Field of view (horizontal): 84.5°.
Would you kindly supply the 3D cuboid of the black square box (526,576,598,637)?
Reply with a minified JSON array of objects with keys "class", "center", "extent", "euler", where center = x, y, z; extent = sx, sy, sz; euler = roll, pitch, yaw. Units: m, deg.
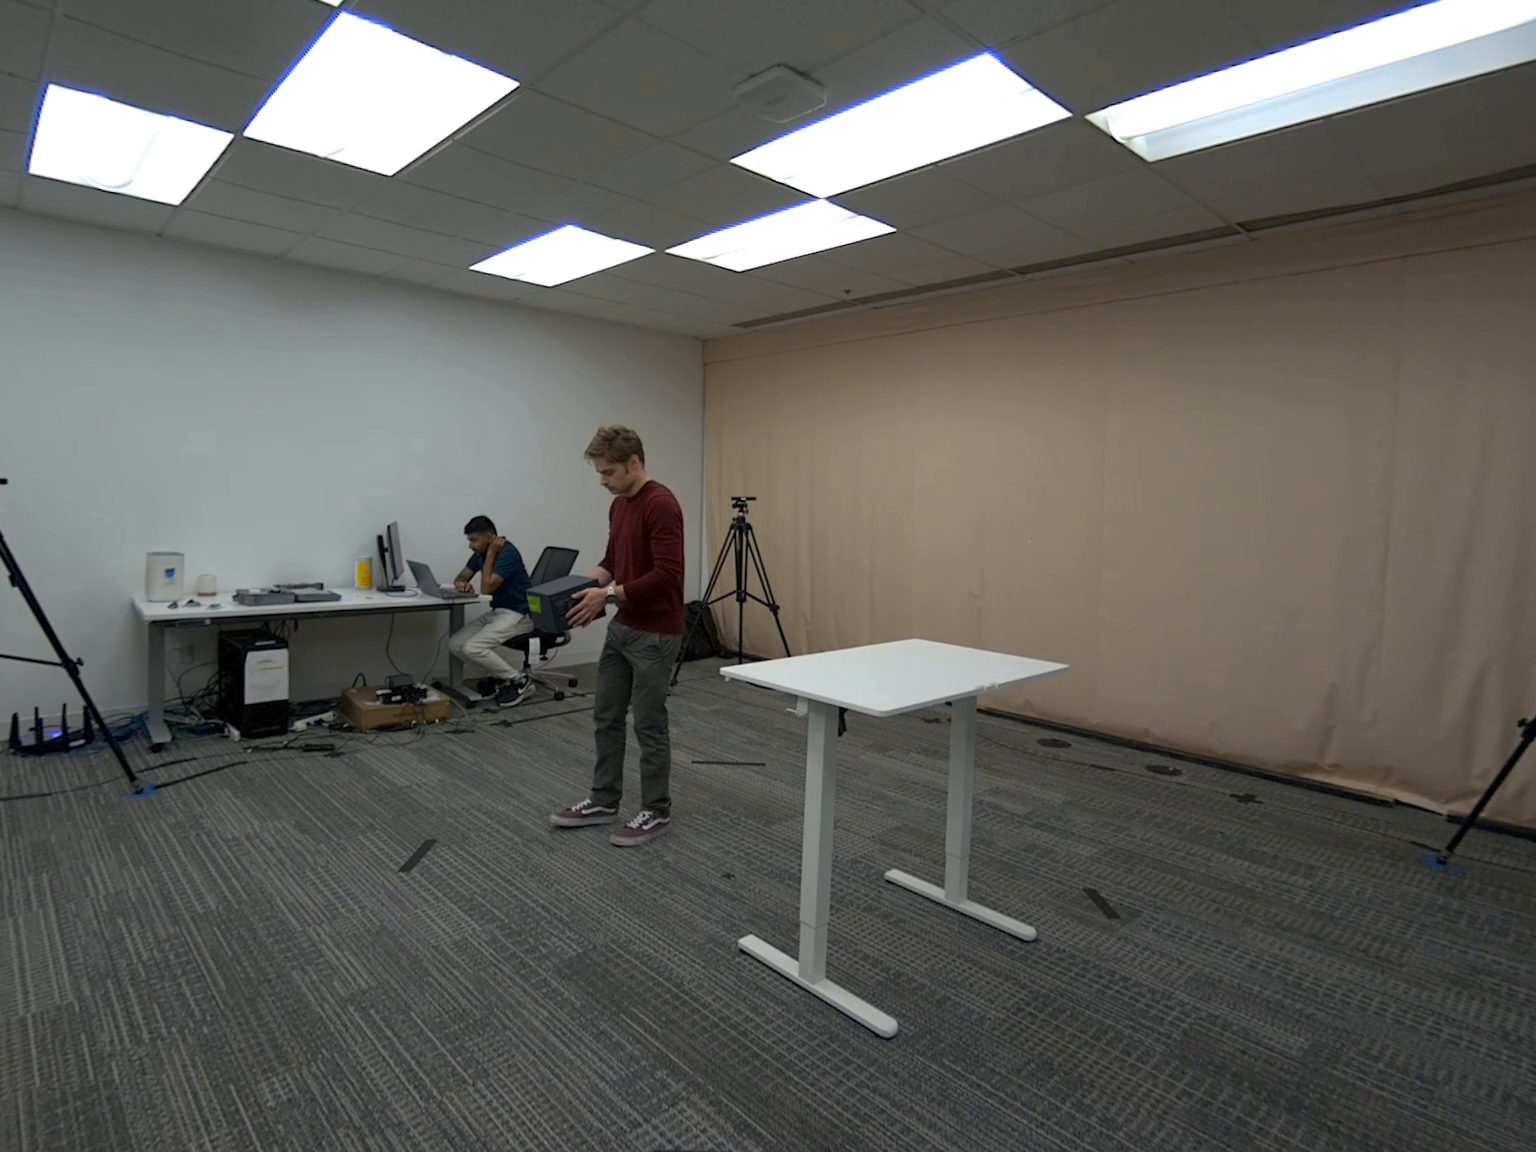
[{"class":"black square box","center":[-0.811,0.108,3.322],"extent":[0.214,0.154,0.233],"euler":[-21,16,-35]}]
